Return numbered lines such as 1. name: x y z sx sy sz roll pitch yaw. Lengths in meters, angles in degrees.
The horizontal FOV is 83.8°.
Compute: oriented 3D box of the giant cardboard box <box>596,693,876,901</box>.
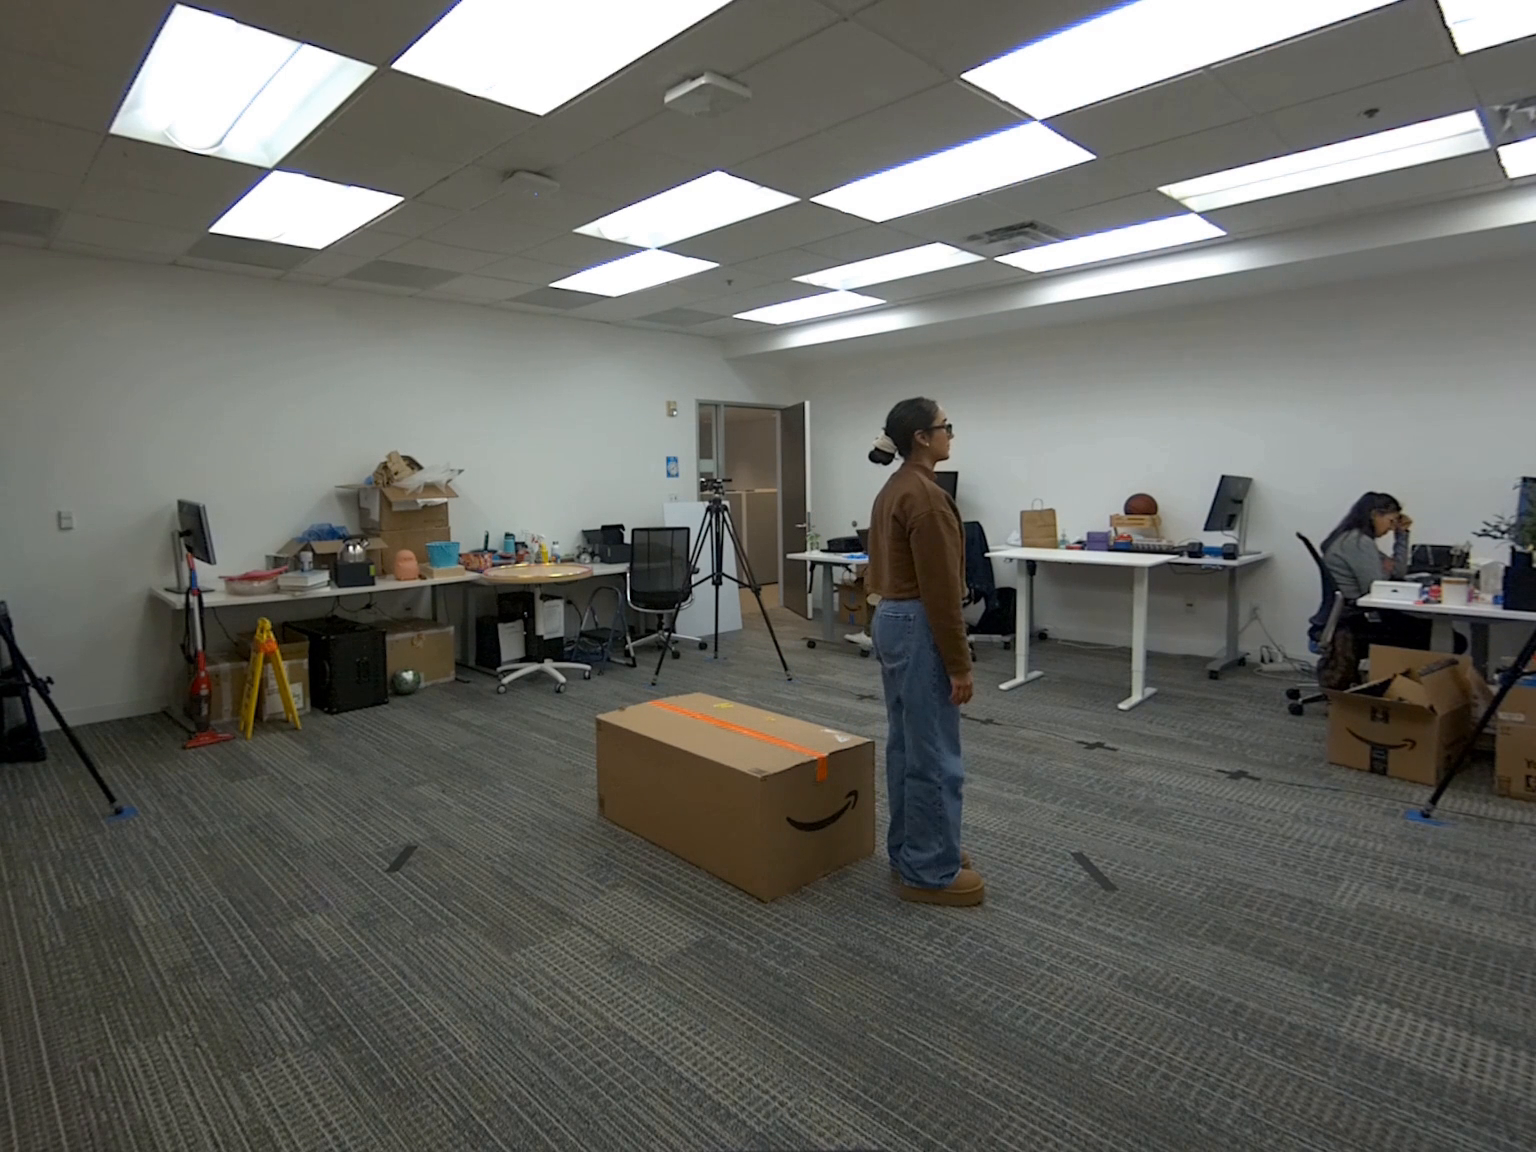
1. giant cardboard box: -0.161 0.807 3.370 0.569 0.444 1.059 -7 9 -42
